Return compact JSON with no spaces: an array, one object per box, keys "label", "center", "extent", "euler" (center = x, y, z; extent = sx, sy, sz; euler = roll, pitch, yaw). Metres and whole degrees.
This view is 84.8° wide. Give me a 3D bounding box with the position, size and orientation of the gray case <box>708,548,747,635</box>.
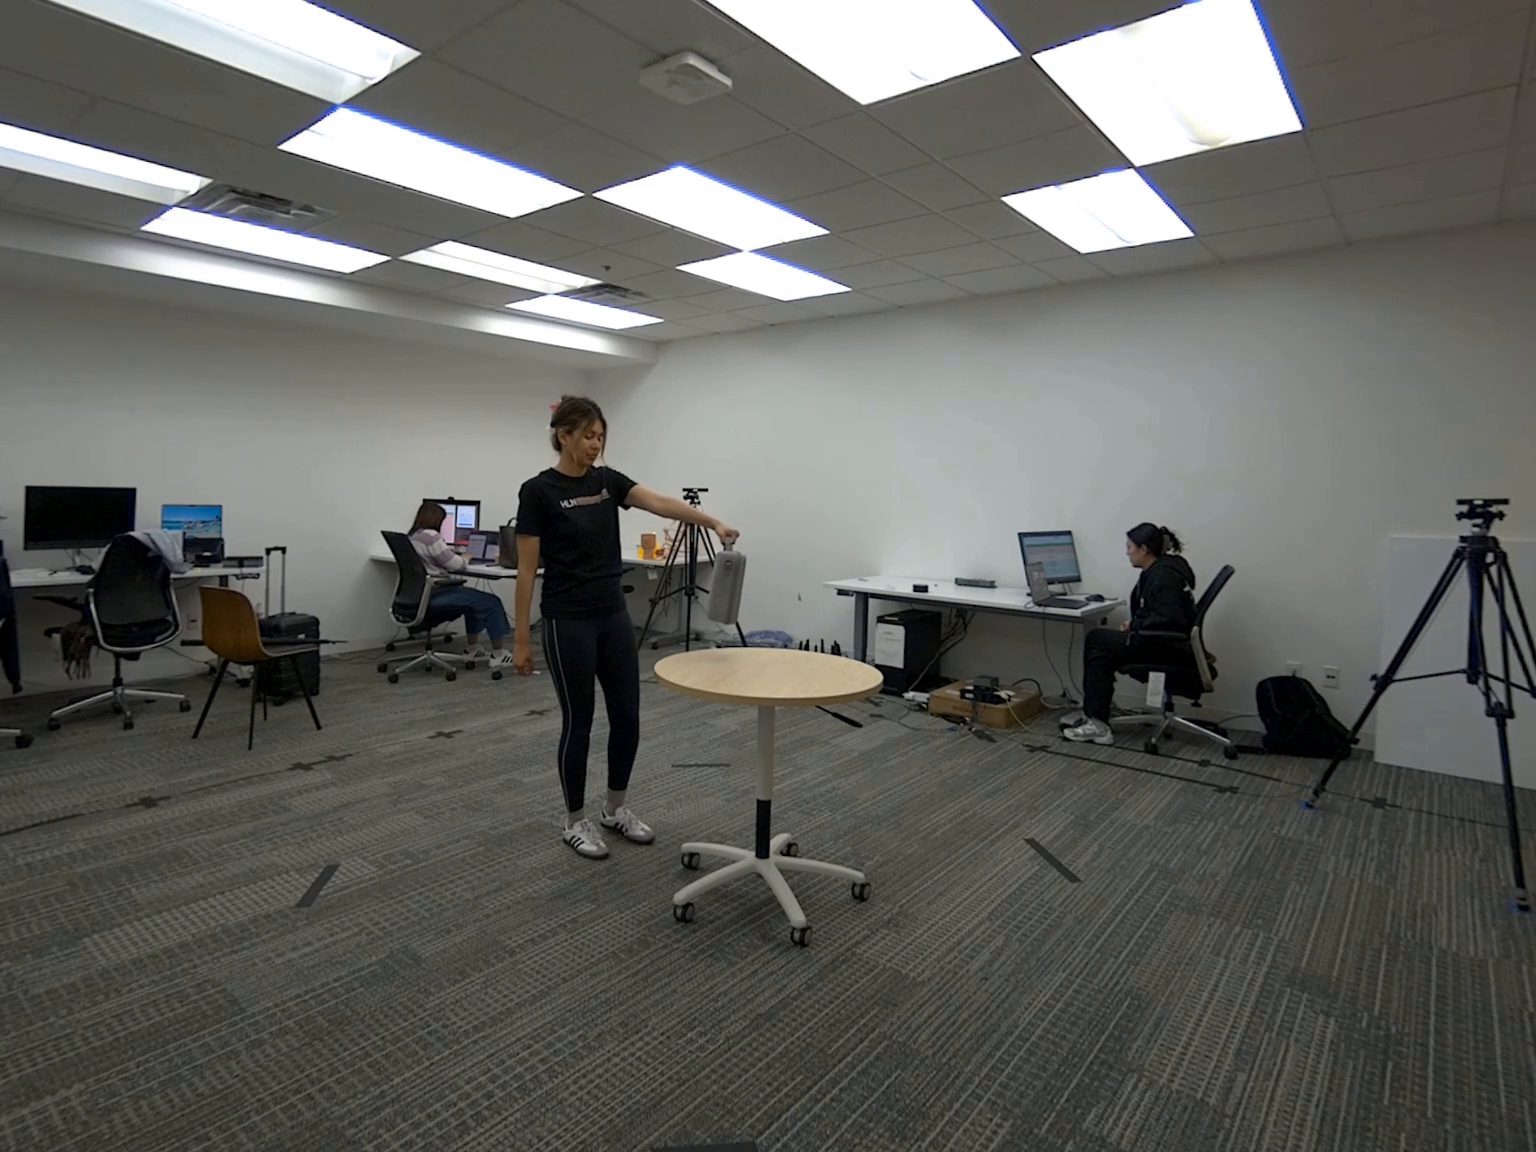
[{"label":"gray case","center":[-0.153,0.038,3.043],"extent":[0.104,0.261,0.257],"euler":[8,-1,-5]}]
